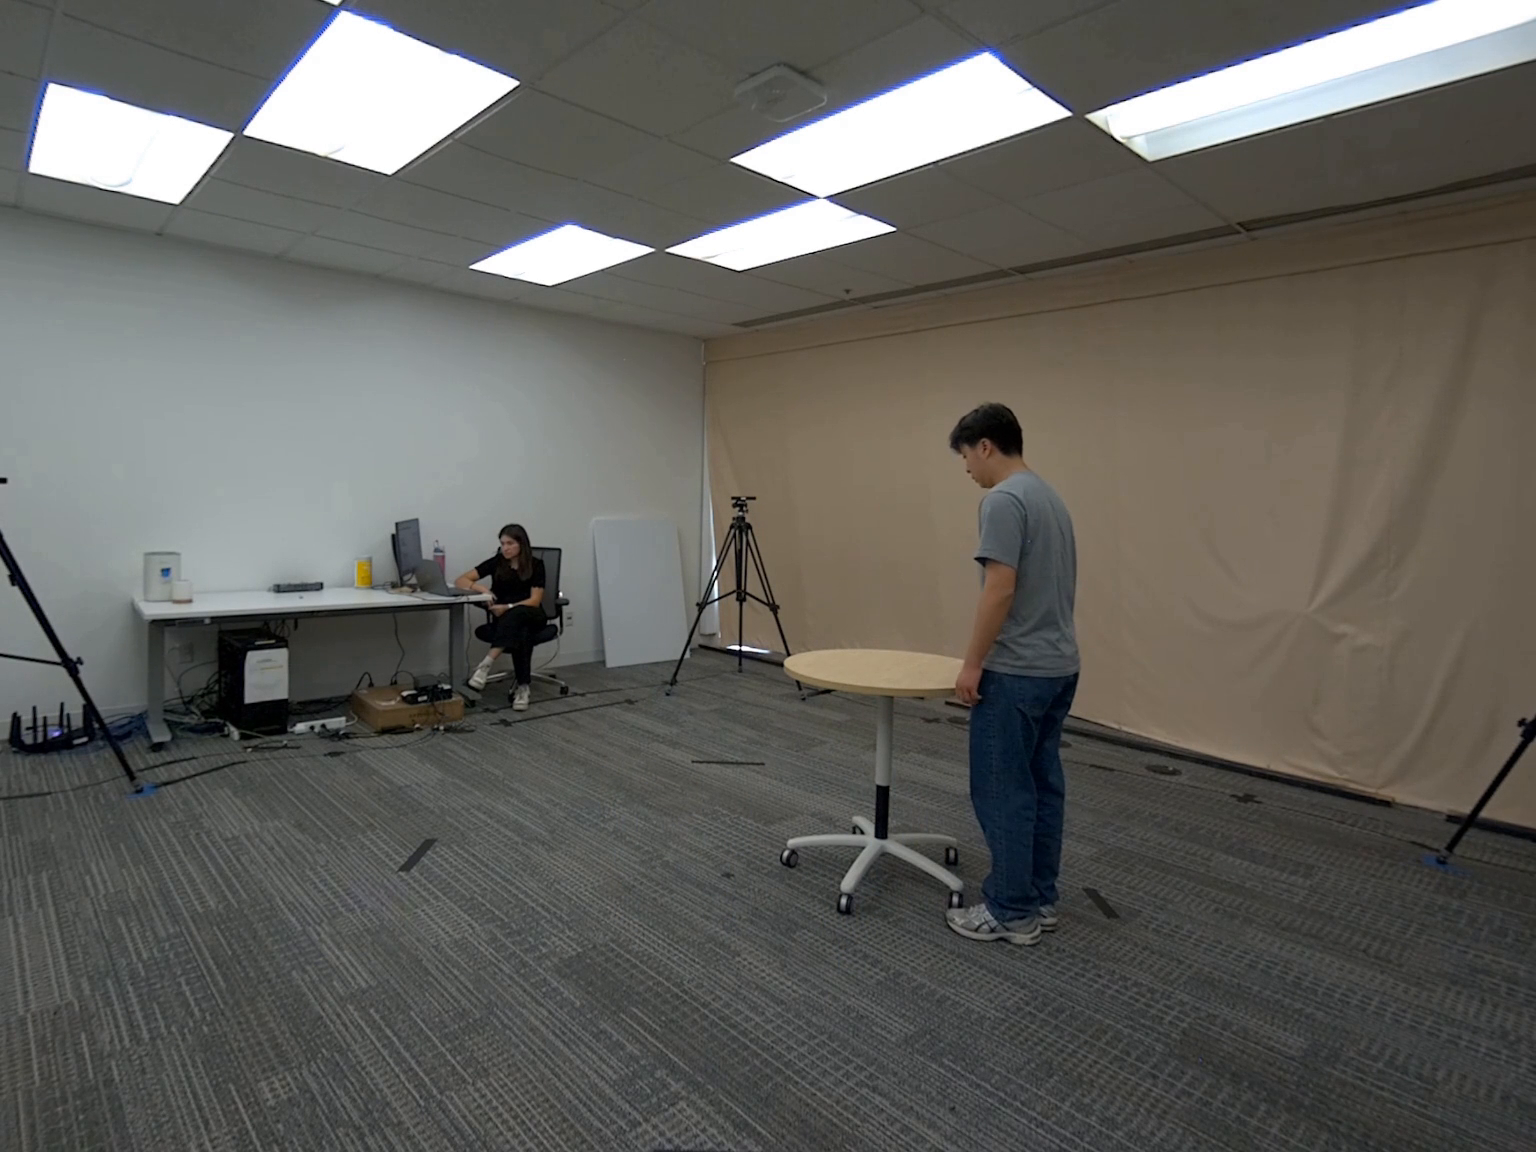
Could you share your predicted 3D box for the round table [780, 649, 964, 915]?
[{"bbox_3d":[0.417,0.730,3.132,0.763,0.792,0.766,2,4,-1],"label":"round table"}]
